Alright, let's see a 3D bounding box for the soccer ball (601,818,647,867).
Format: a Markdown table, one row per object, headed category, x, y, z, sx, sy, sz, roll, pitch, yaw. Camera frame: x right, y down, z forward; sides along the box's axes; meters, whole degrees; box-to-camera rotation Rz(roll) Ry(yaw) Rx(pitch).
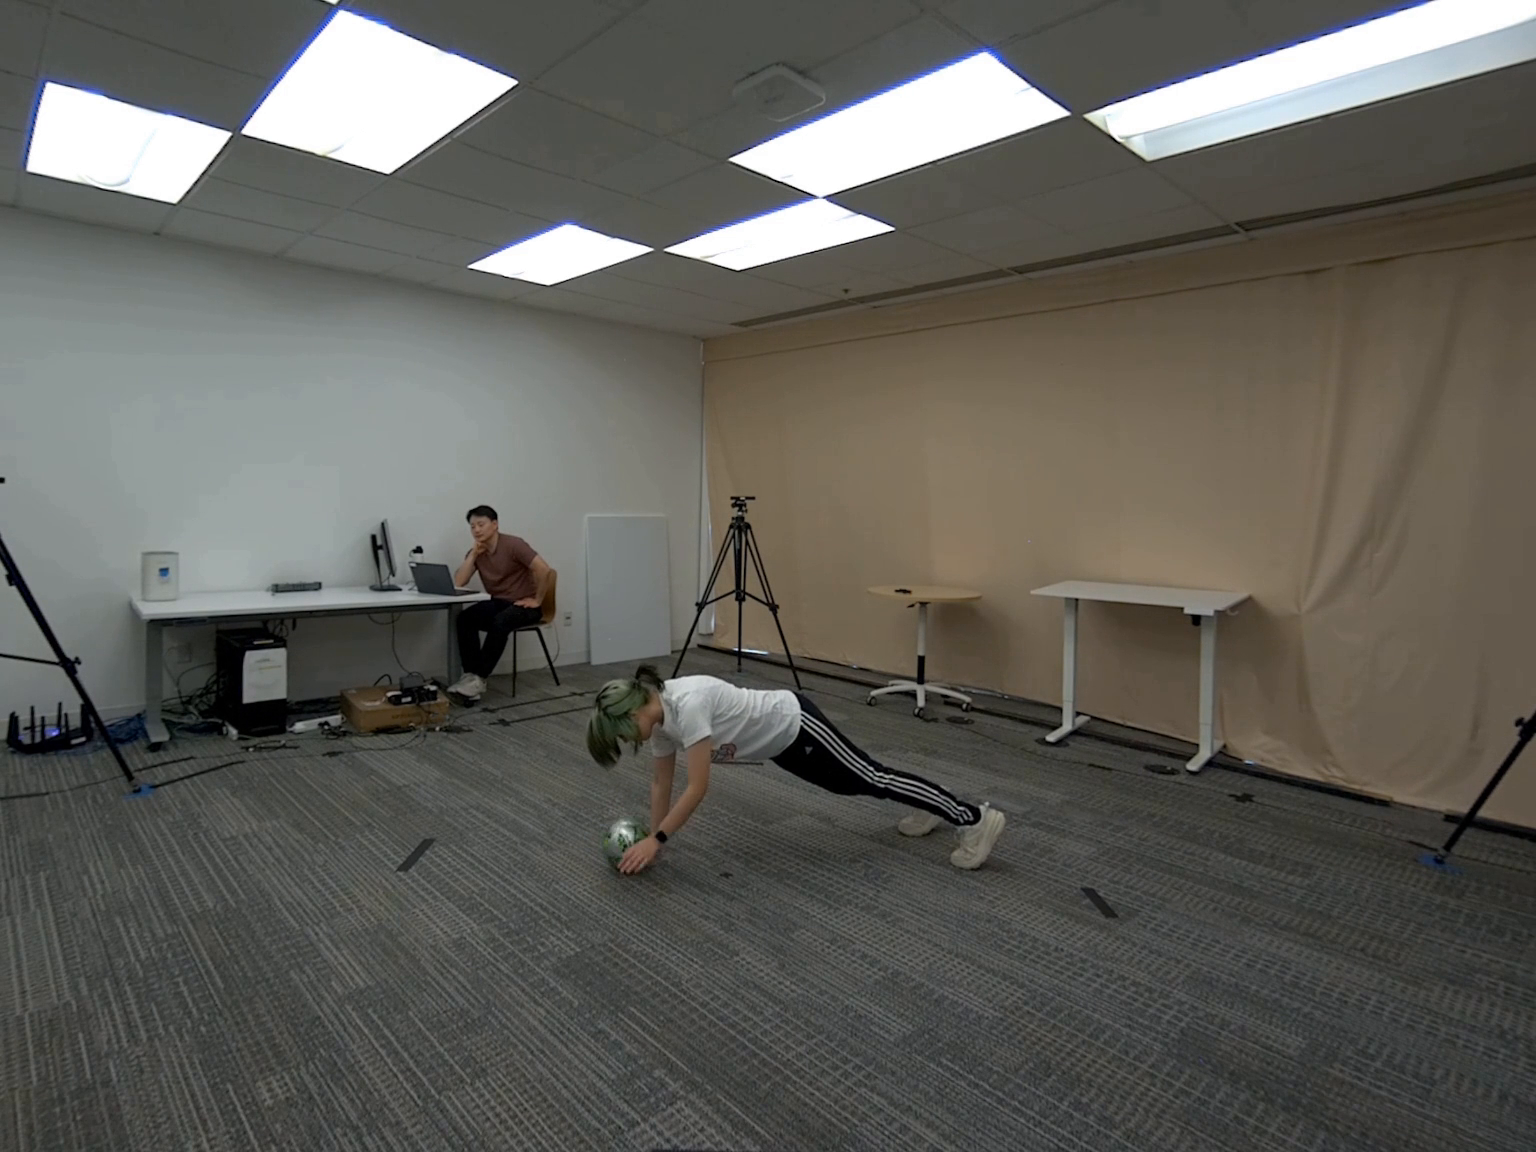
| category | x | y | z | sx | sy | sz | roll | pitch | yaw |
| --- | --- | --- | --- | --- | --- | --- | --- | --- | --- |
| soccer ball | -0.527 | 1.001 | 3.132 | 0.187 | 0.187 | 0.188 | 1 | 4 | -1 |
